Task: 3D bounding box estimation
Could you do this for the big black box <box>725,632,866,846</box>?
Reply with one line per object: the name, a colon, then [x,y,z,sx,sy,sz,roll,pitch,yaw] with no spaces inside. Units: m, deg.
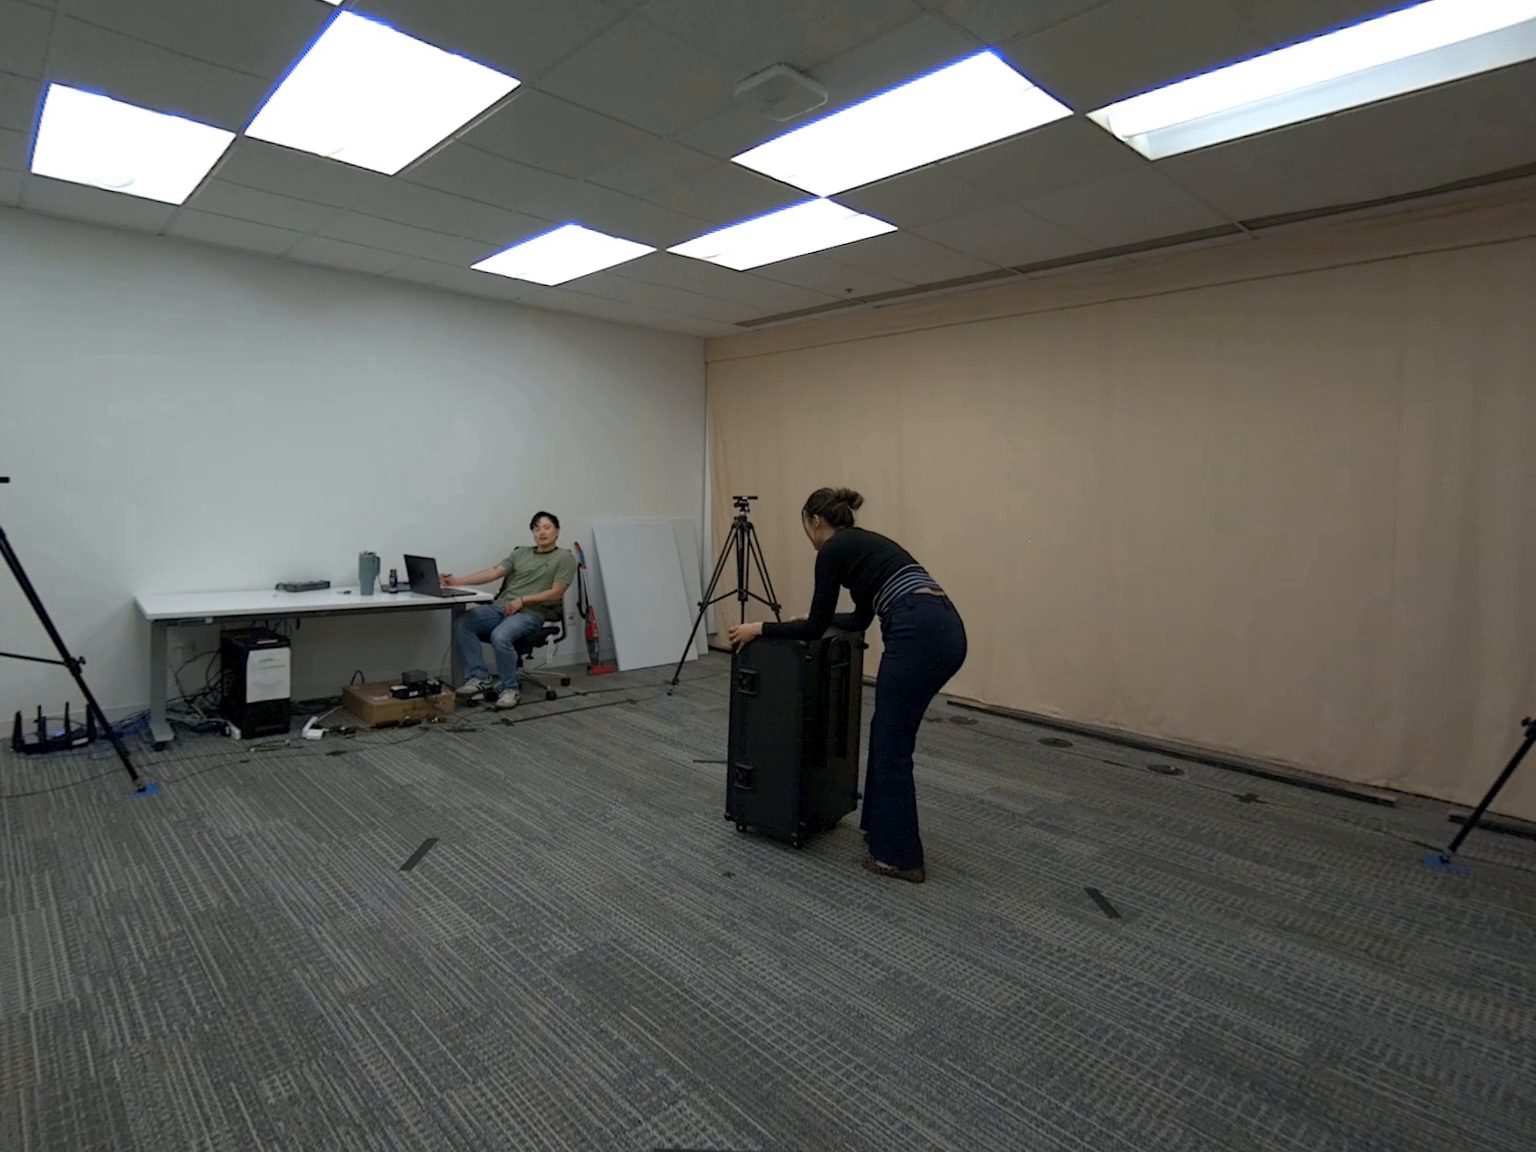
big black box: [0.119,0.650,3.522,0.406,0.859,0.510,6,5,35]
